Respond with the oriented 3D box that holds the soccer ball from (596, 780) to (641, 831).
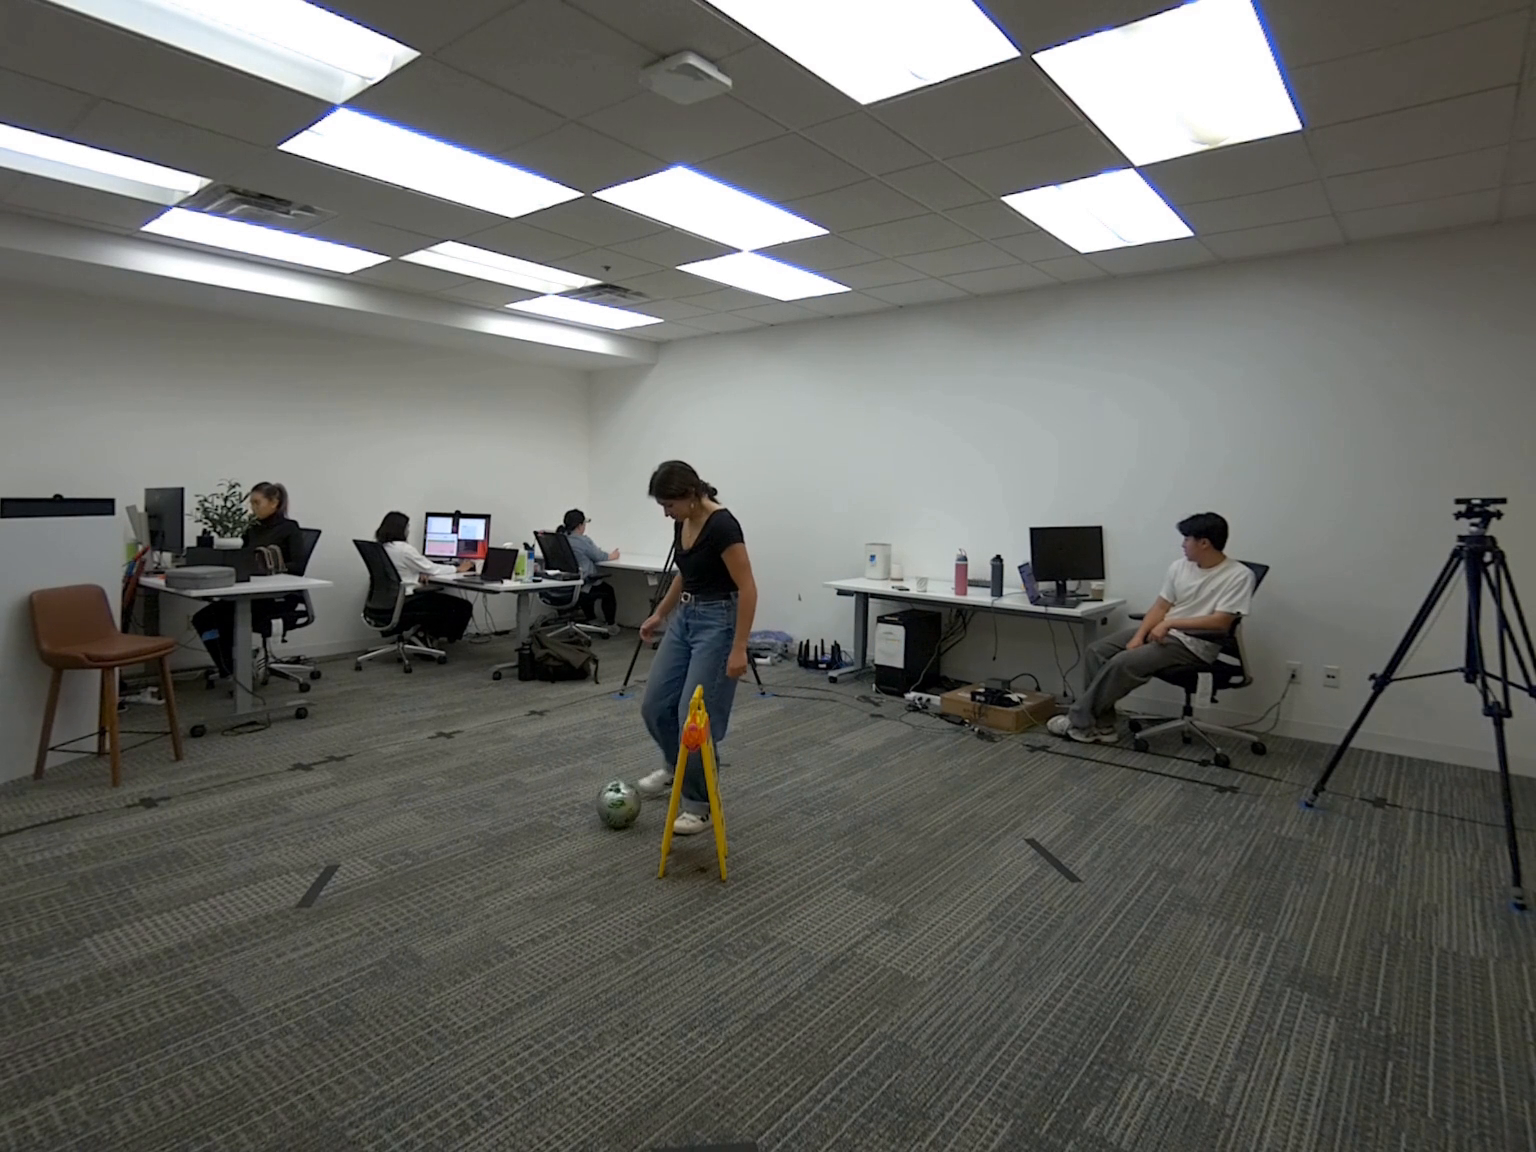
[{"bbox_3d":[-0.611,0.931,3.503,0.187,0.187,0.188,1,4,-2],"label":"soccer ball"}]
